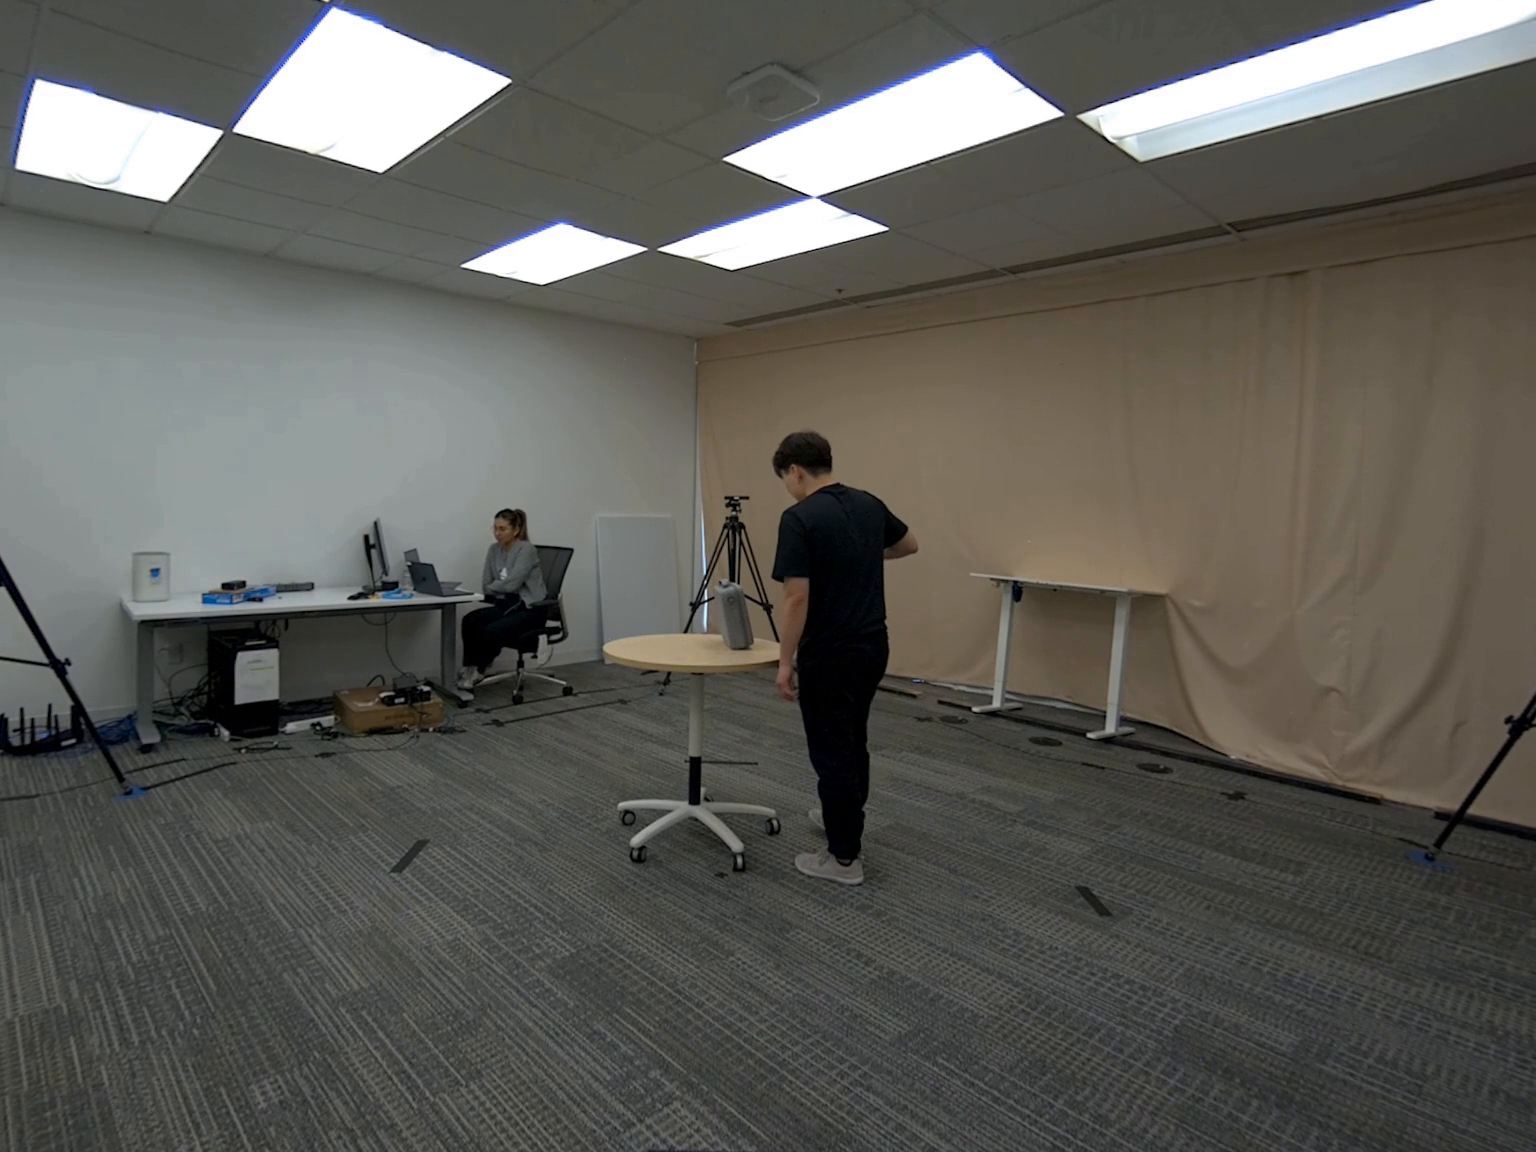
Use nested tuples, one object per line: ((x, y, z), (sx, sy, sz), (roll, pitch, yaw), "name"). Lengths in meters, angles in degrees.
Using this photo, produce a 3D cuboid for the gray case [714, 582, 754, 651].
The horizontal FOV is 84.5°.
((-0.150, 0.156, 3.491), (0.104, 0.260, 0.258), (-7, 4, -6), "gray case")
